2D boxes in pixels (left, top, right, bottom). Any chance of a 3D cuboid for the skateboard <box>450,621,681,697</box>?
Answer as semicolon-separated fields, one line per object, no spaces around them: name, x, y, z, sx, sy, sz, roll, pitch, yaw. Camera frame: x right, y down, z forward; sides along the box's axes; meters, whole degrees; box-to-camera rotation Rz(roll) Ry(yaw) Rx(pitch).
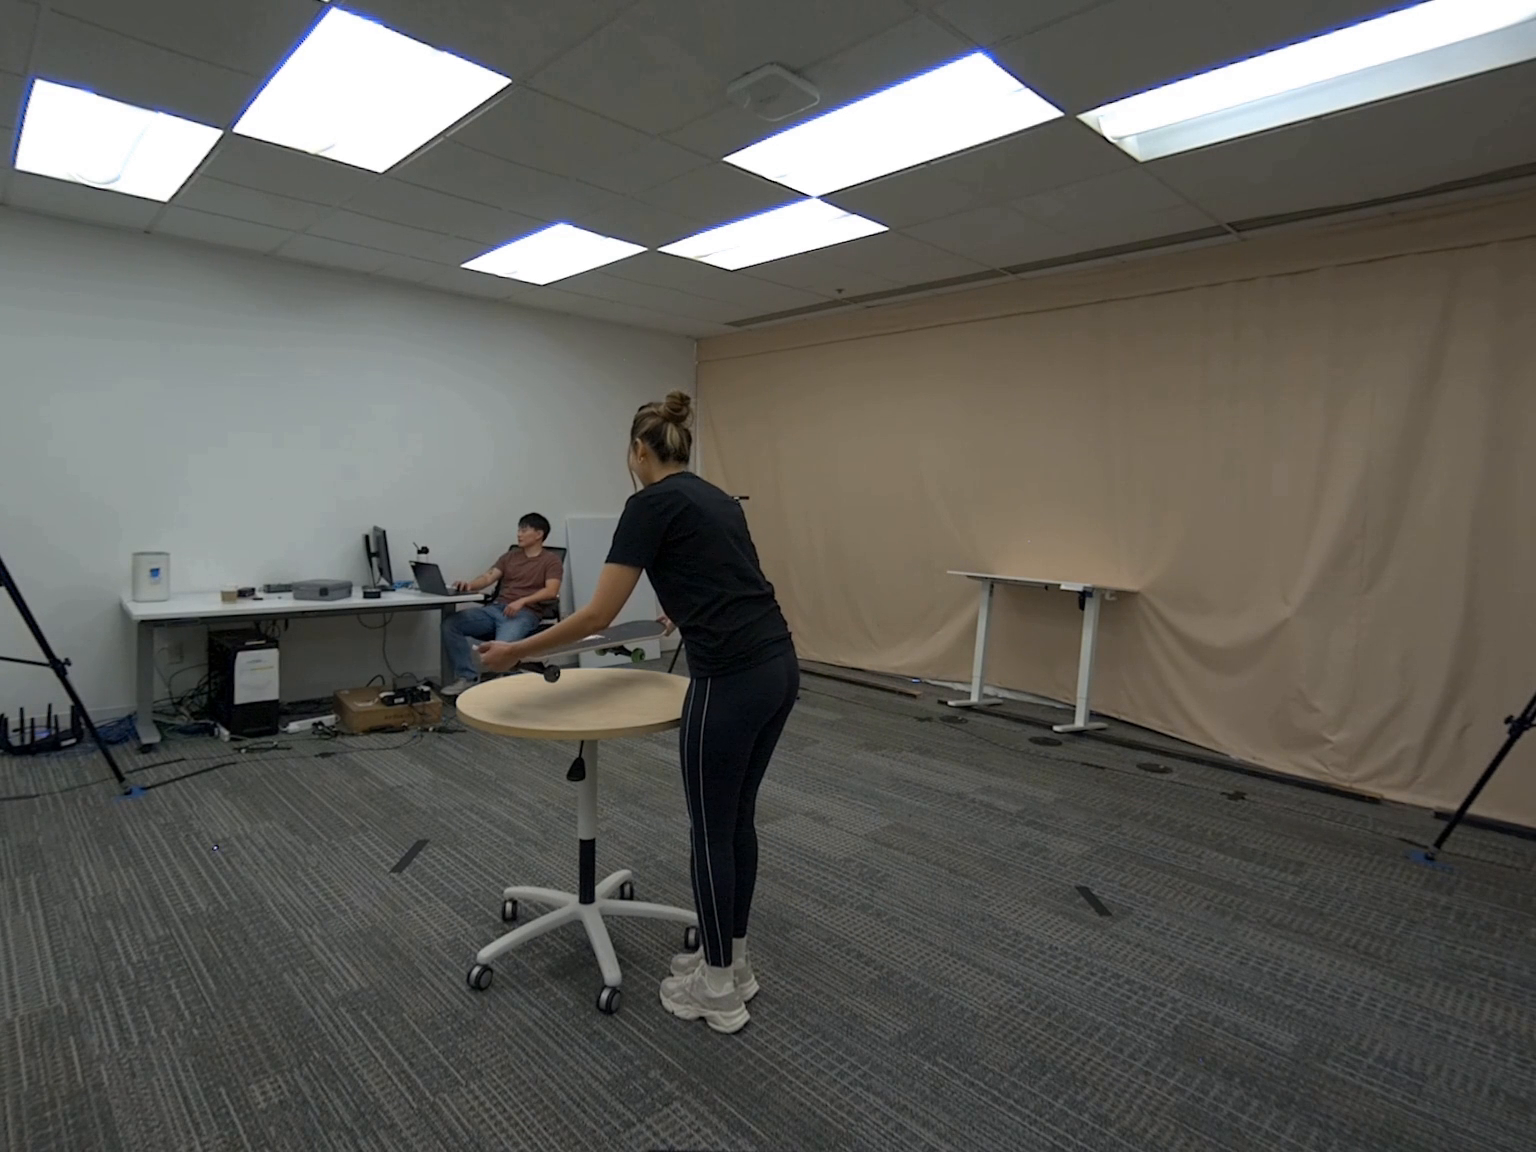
skateboard;-0.578;0.233;2.571;0.198;0.110;0.769;8;6;30
